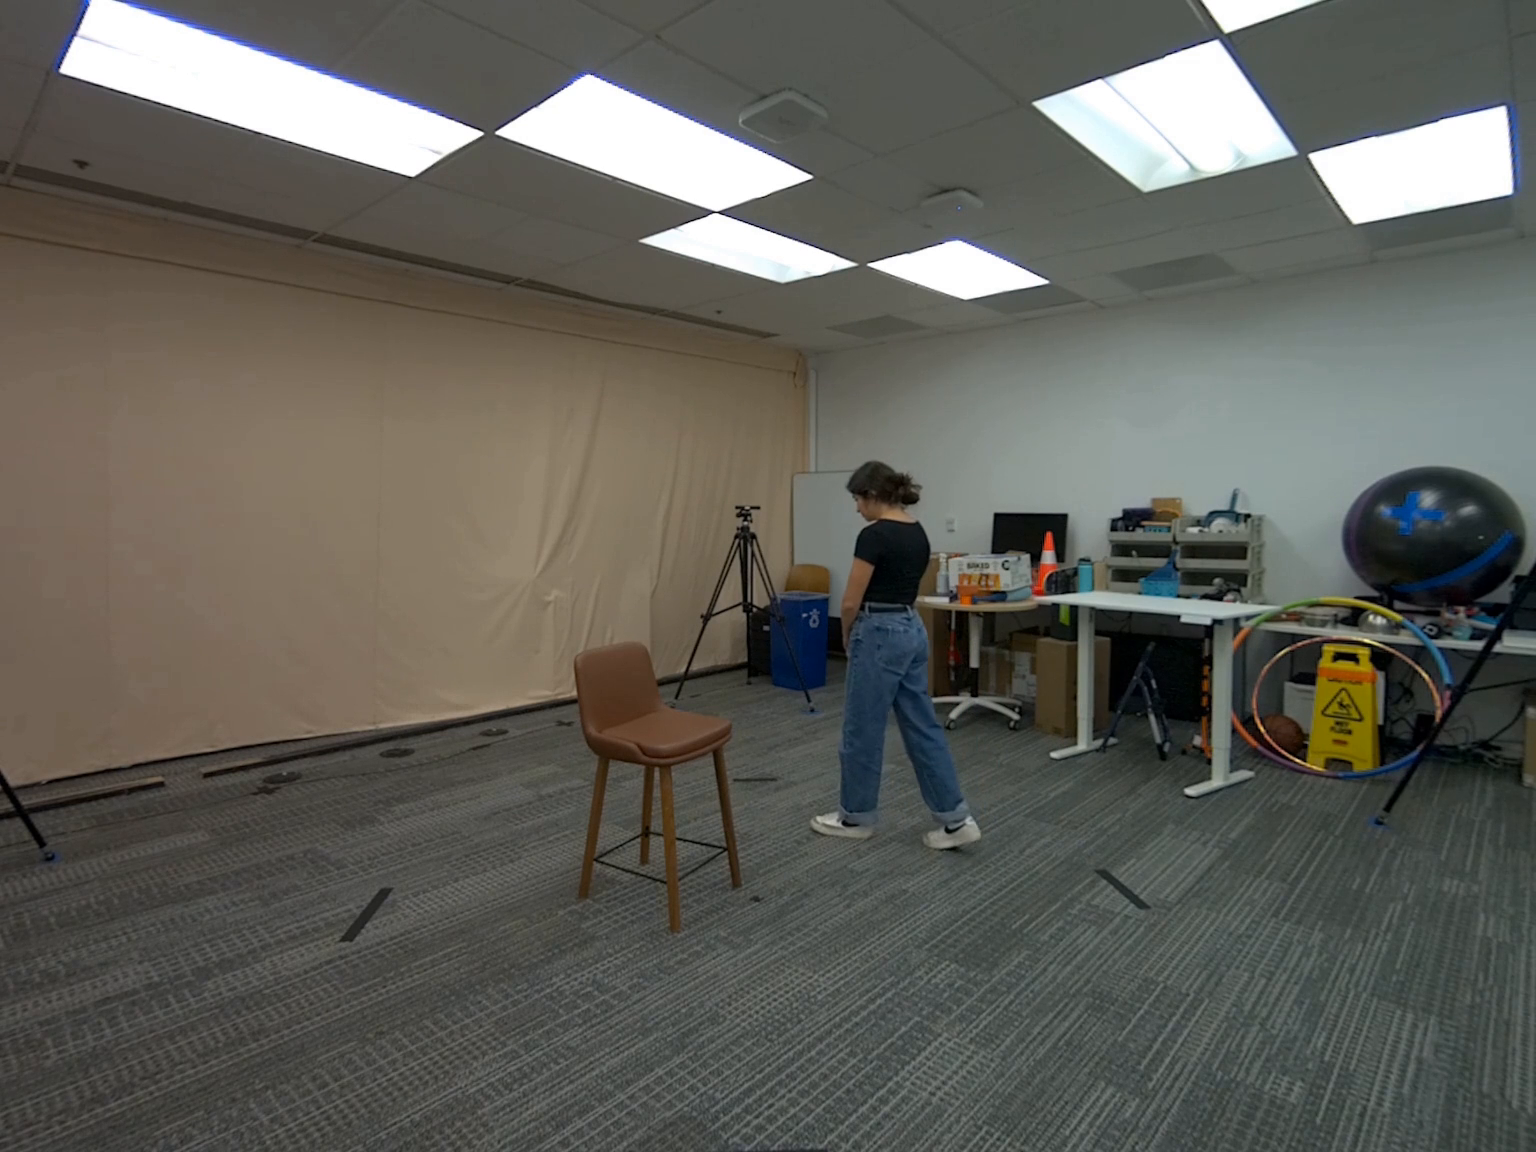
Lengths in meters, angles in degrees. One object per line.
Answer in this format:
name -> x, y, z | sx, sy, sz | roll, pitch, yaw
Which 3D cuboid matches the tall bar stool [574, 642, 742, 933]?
tall bar stool -> -0.399, 0.711, 3.017 | 0.481, 0.888, 0.444 | 0, 2, 33
